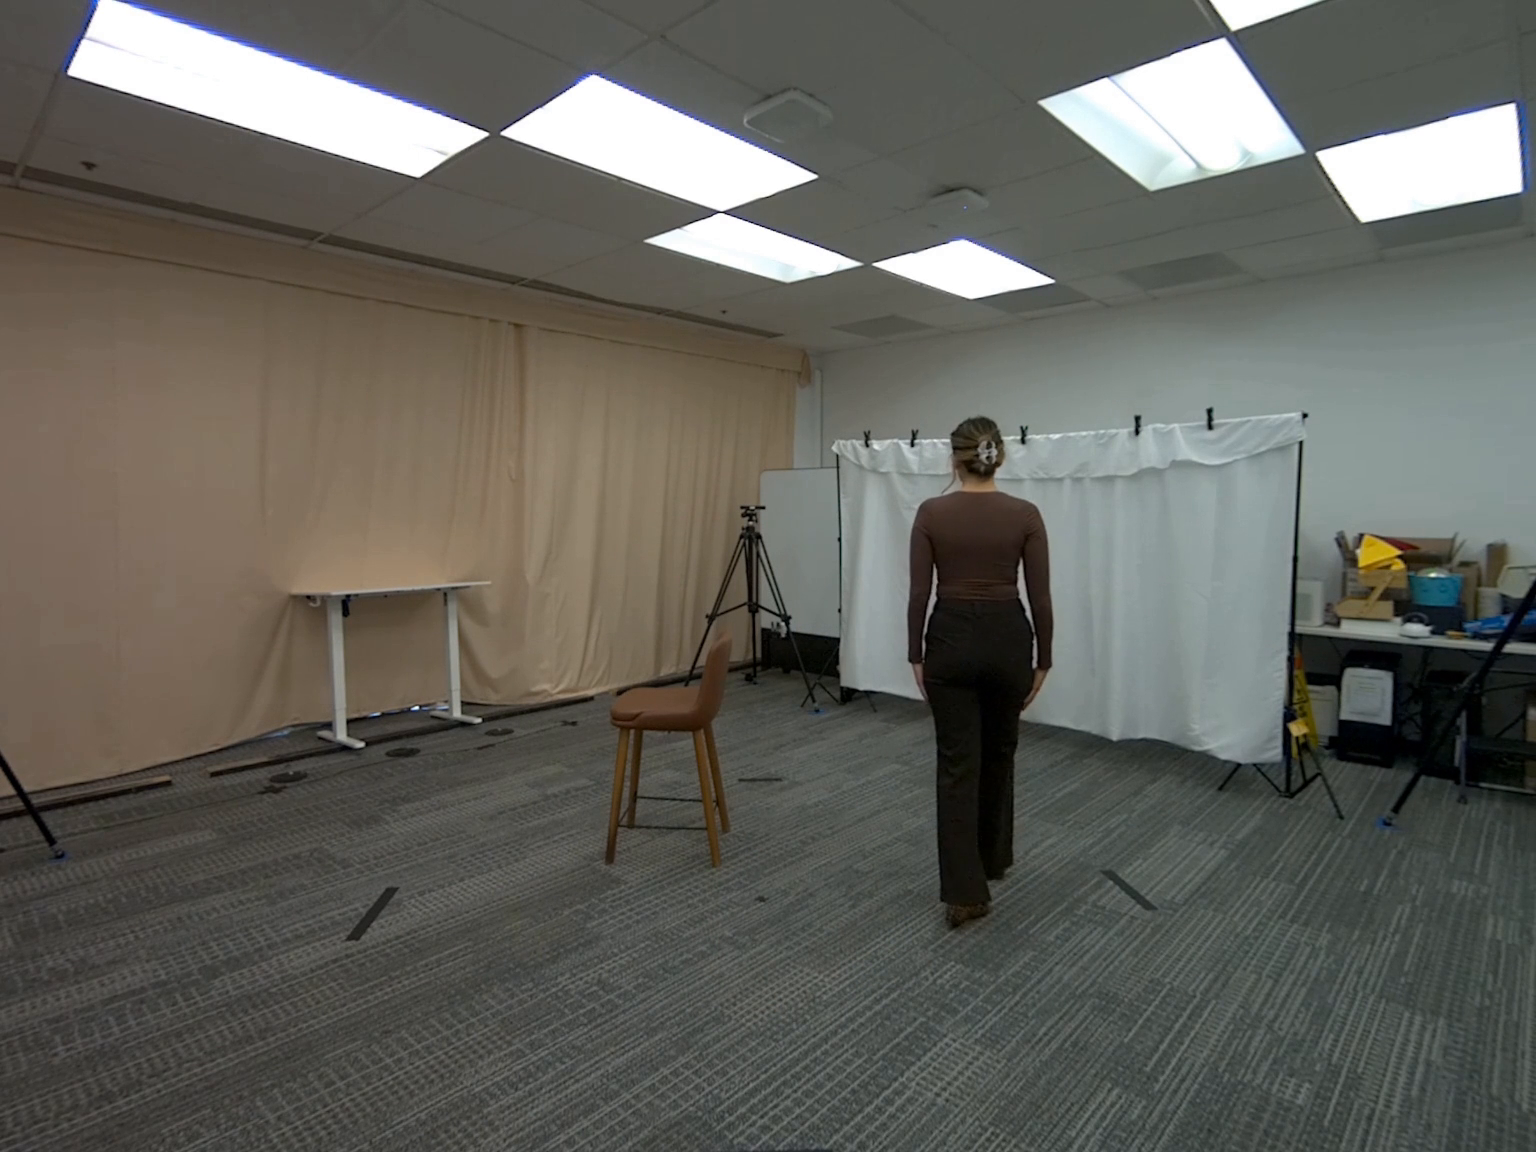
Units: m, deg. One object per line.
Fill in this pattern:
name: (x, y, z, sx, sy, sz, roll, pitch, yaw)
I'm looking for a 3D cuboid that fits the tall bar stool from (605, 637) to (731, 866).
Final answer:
tall bar stool: (-0.396, 0.674, 3.436, 0.471, 0.888, 0.454, 1, 3, 5)
